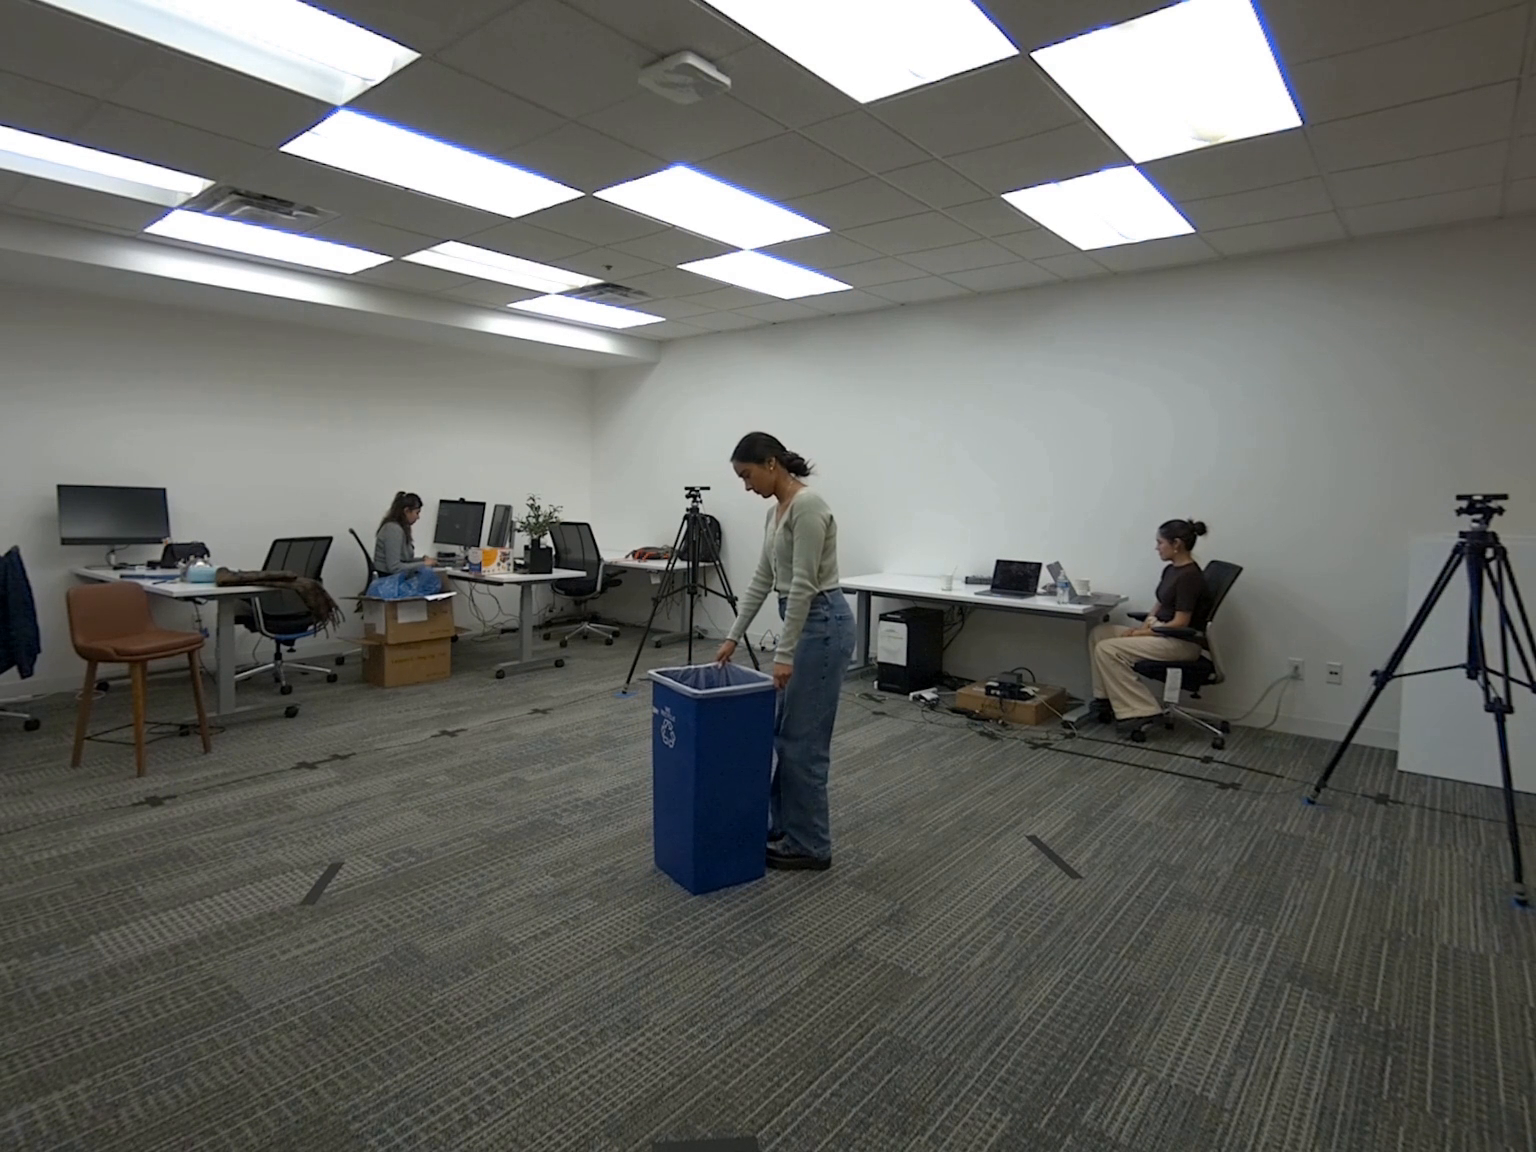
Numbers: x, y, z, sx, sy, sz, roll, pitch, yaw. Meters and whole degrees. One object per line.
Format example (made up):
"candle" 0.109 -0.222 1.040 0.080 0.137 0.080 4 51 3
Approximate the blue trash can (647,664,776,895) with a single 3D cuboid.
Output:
"blue trash can" -0.208 0.710 3.069 0.367 0.712 0.386 -1 4 -34
